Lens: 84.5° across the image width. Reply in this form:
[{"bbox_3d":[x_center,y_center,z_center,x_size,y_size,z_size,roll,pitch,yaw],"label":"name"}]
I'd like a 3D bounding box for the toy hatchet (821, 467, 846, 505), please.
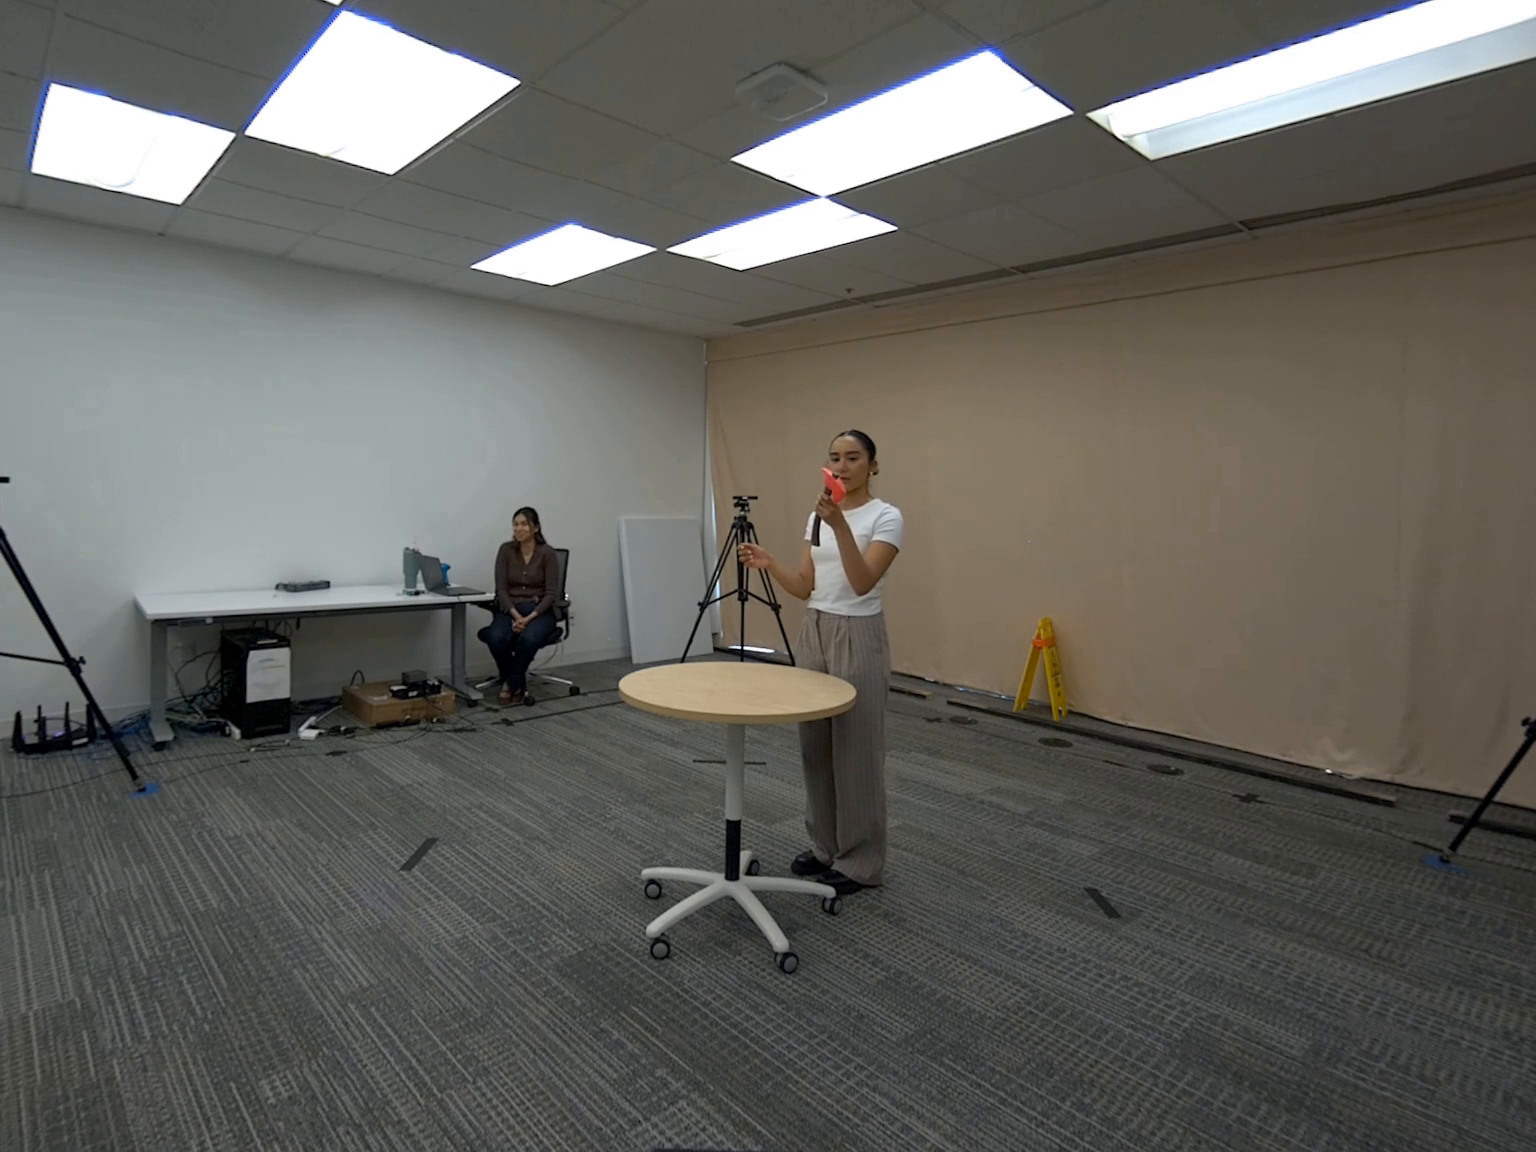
[{"bbox_3d":[0.192,-0.208,2.697,0.029,0.266,0.135,-11,27,-33],"label":"toy hatchet"}]
